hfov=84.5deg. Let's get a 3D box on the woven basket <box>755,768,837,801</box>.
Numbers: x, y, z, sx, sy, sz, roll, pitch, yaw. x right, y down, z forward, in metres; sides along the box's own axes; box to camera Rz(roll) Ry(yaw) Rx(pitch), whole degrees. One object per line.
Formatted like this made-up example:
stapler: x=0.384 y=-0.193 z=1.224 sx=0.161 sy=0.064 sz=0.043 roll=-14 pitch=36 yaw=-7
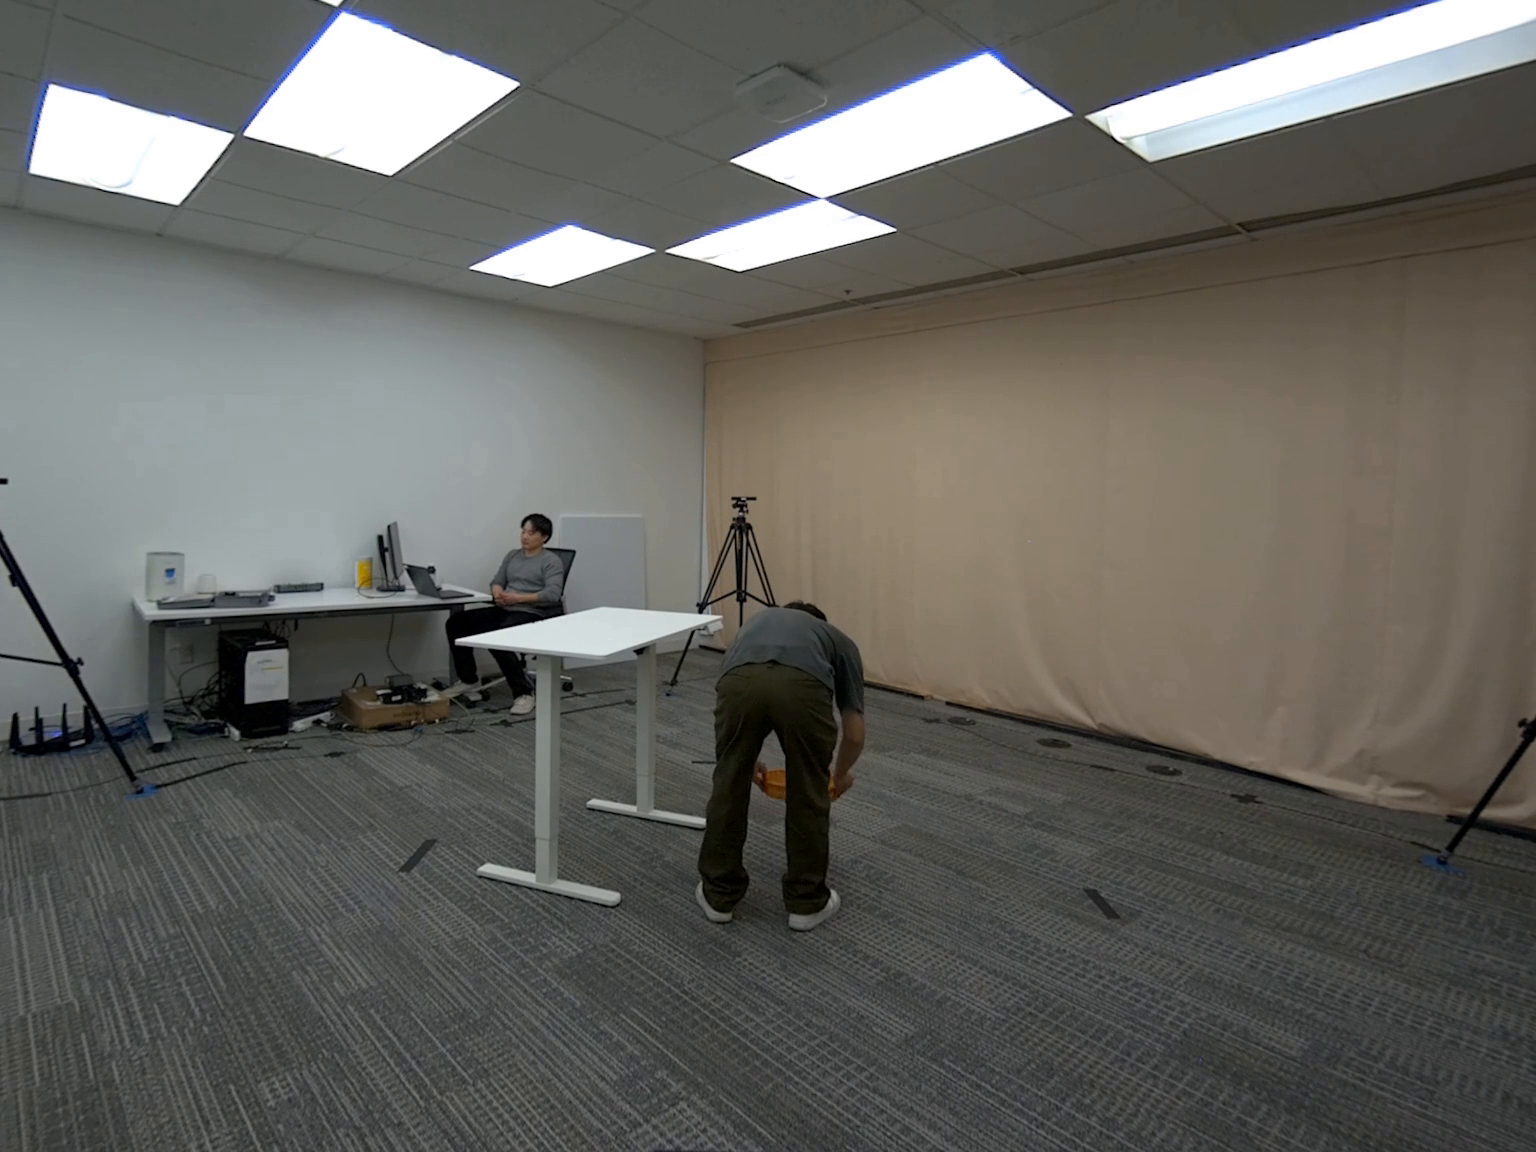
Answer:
woven basket: x=0.130 y=0.818 z=3.253 sx=0.356 sy=0.073 sz=0.248 roll=2 pitch=1 yaw=20
